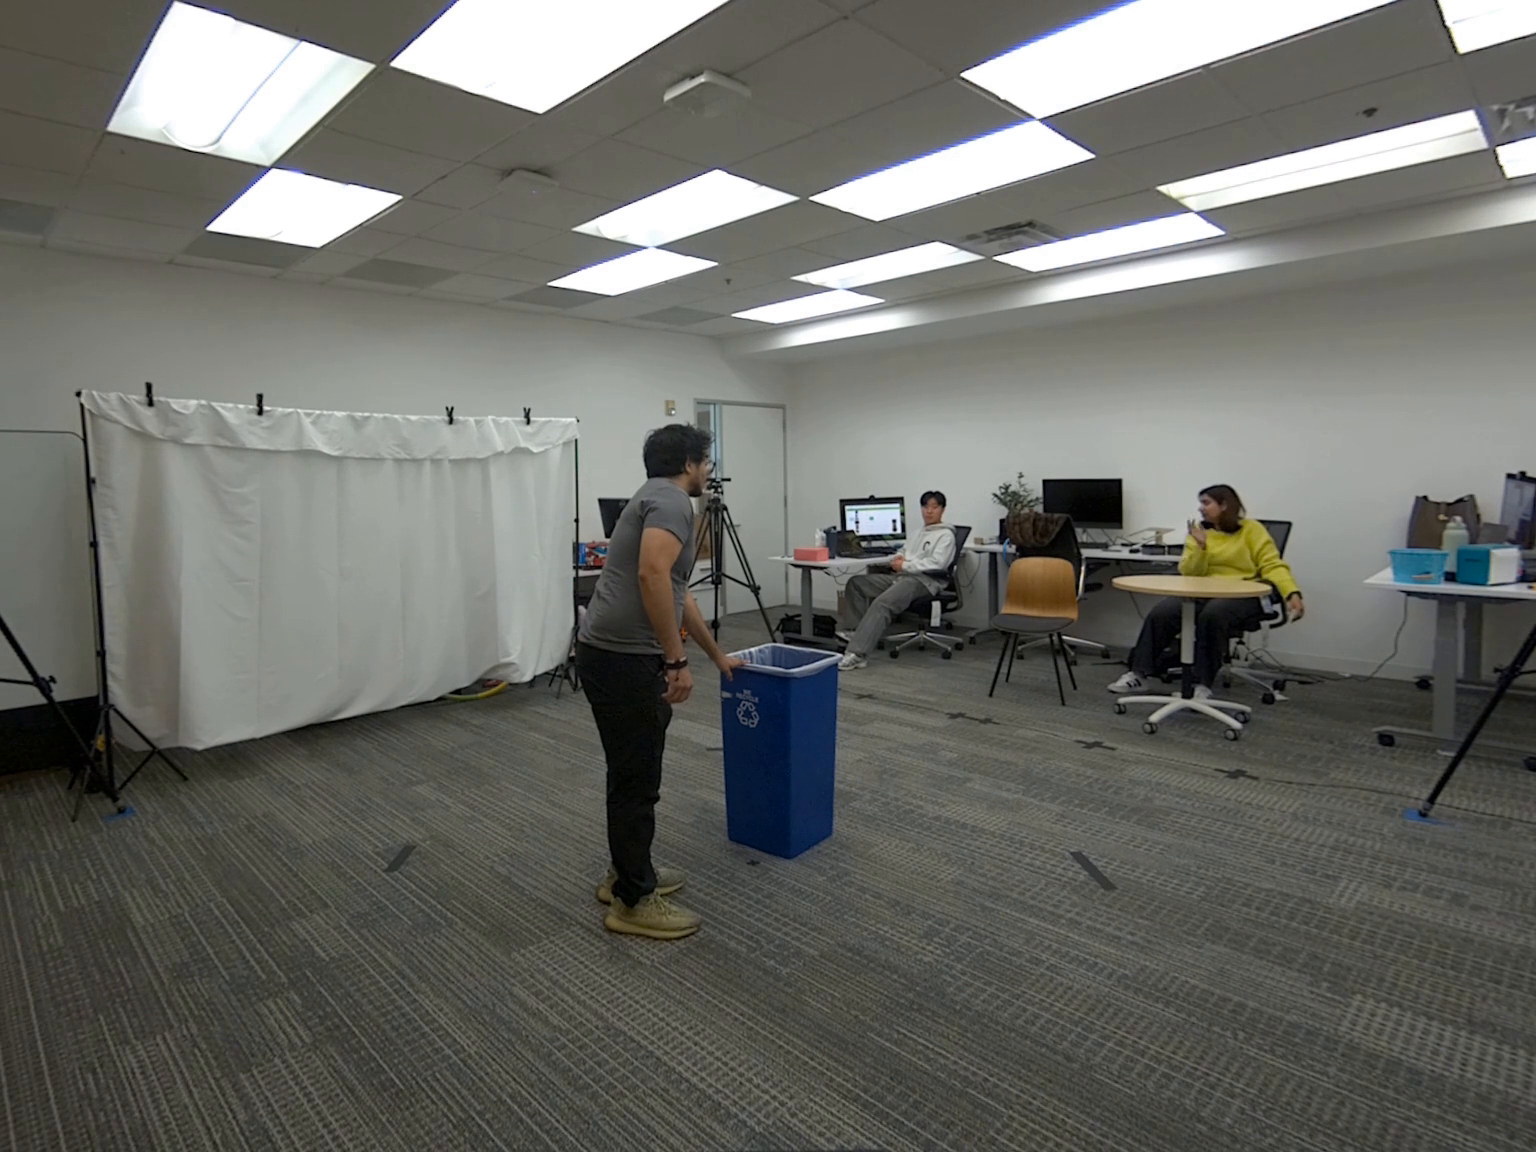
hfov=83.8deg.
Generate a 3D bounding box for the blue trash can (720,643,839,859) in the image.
[{"bbox_3d":[0.055,0.660,3.303,0.385,0.711,0.368,3,6,39],"label":"blue trash can"}]
